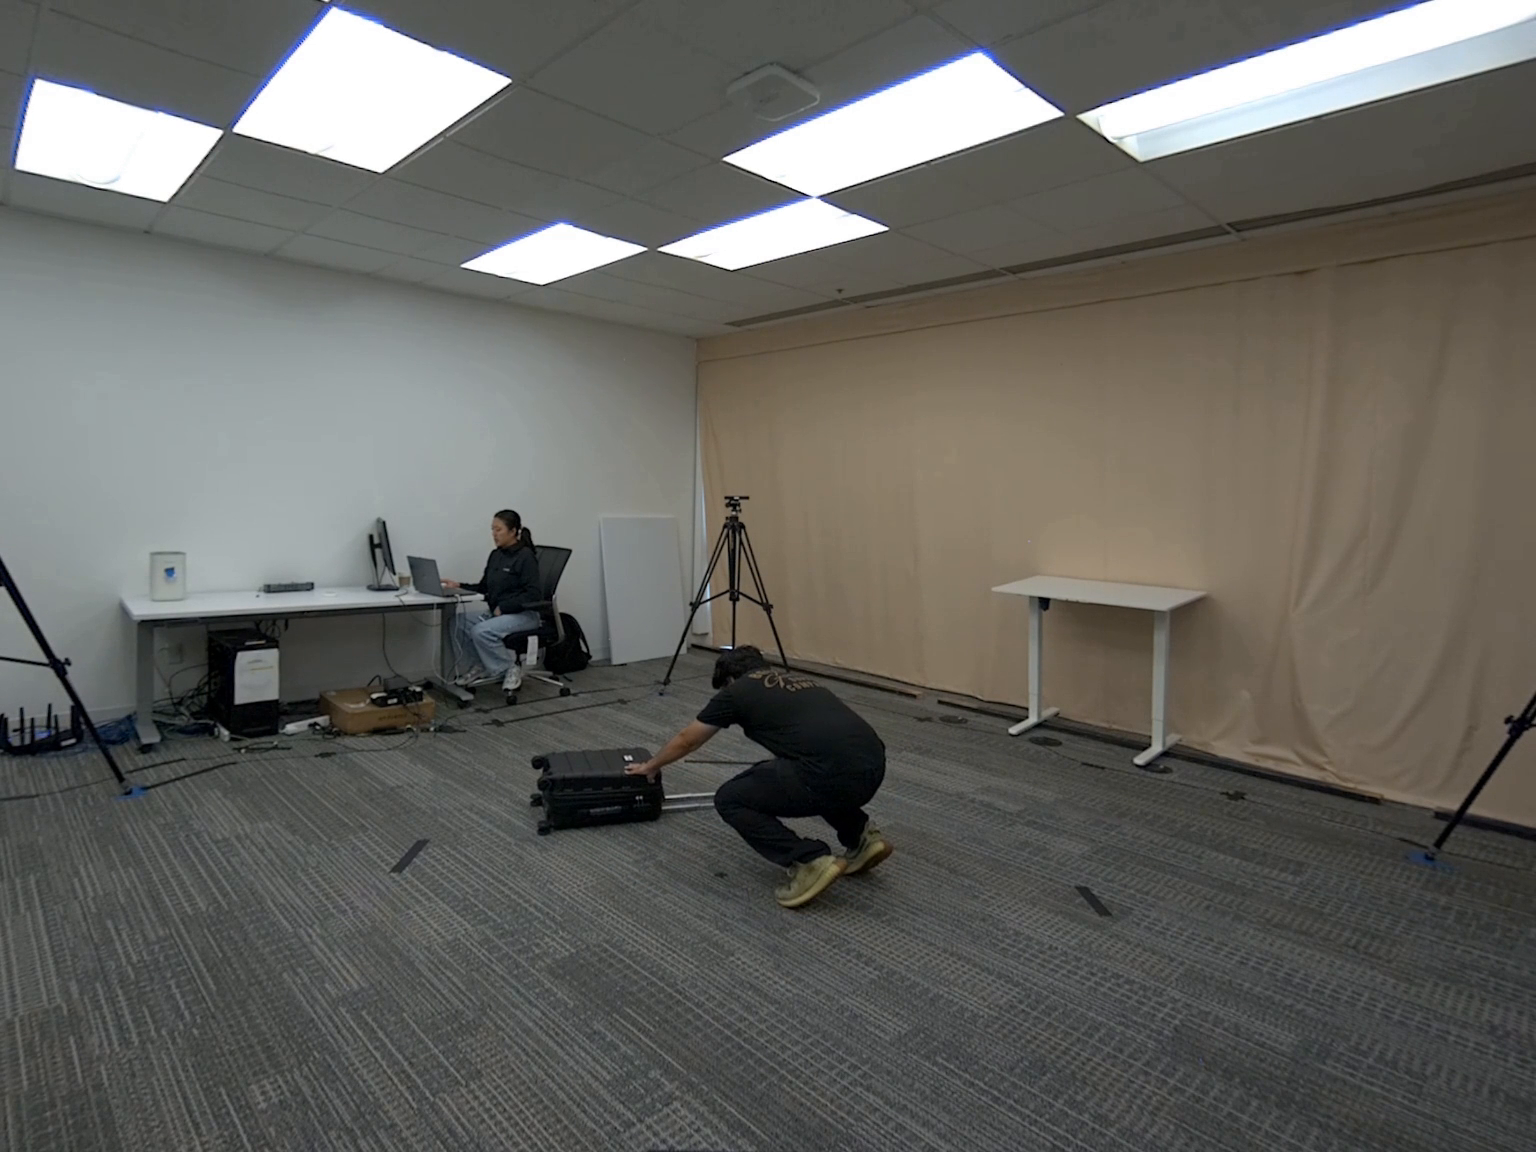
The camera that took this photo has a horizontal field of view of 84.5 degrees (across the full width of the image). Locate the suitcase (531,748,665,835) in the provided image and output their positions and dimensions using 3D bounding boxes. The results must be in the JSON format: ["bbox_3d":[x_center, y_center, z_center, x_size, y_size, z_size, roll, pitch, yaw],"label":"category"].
[{"bbox_3d":[-0.556,0.911,3.744,0.965,0.256,0.390,-2,5,-19],"label":"suitcase"}]
